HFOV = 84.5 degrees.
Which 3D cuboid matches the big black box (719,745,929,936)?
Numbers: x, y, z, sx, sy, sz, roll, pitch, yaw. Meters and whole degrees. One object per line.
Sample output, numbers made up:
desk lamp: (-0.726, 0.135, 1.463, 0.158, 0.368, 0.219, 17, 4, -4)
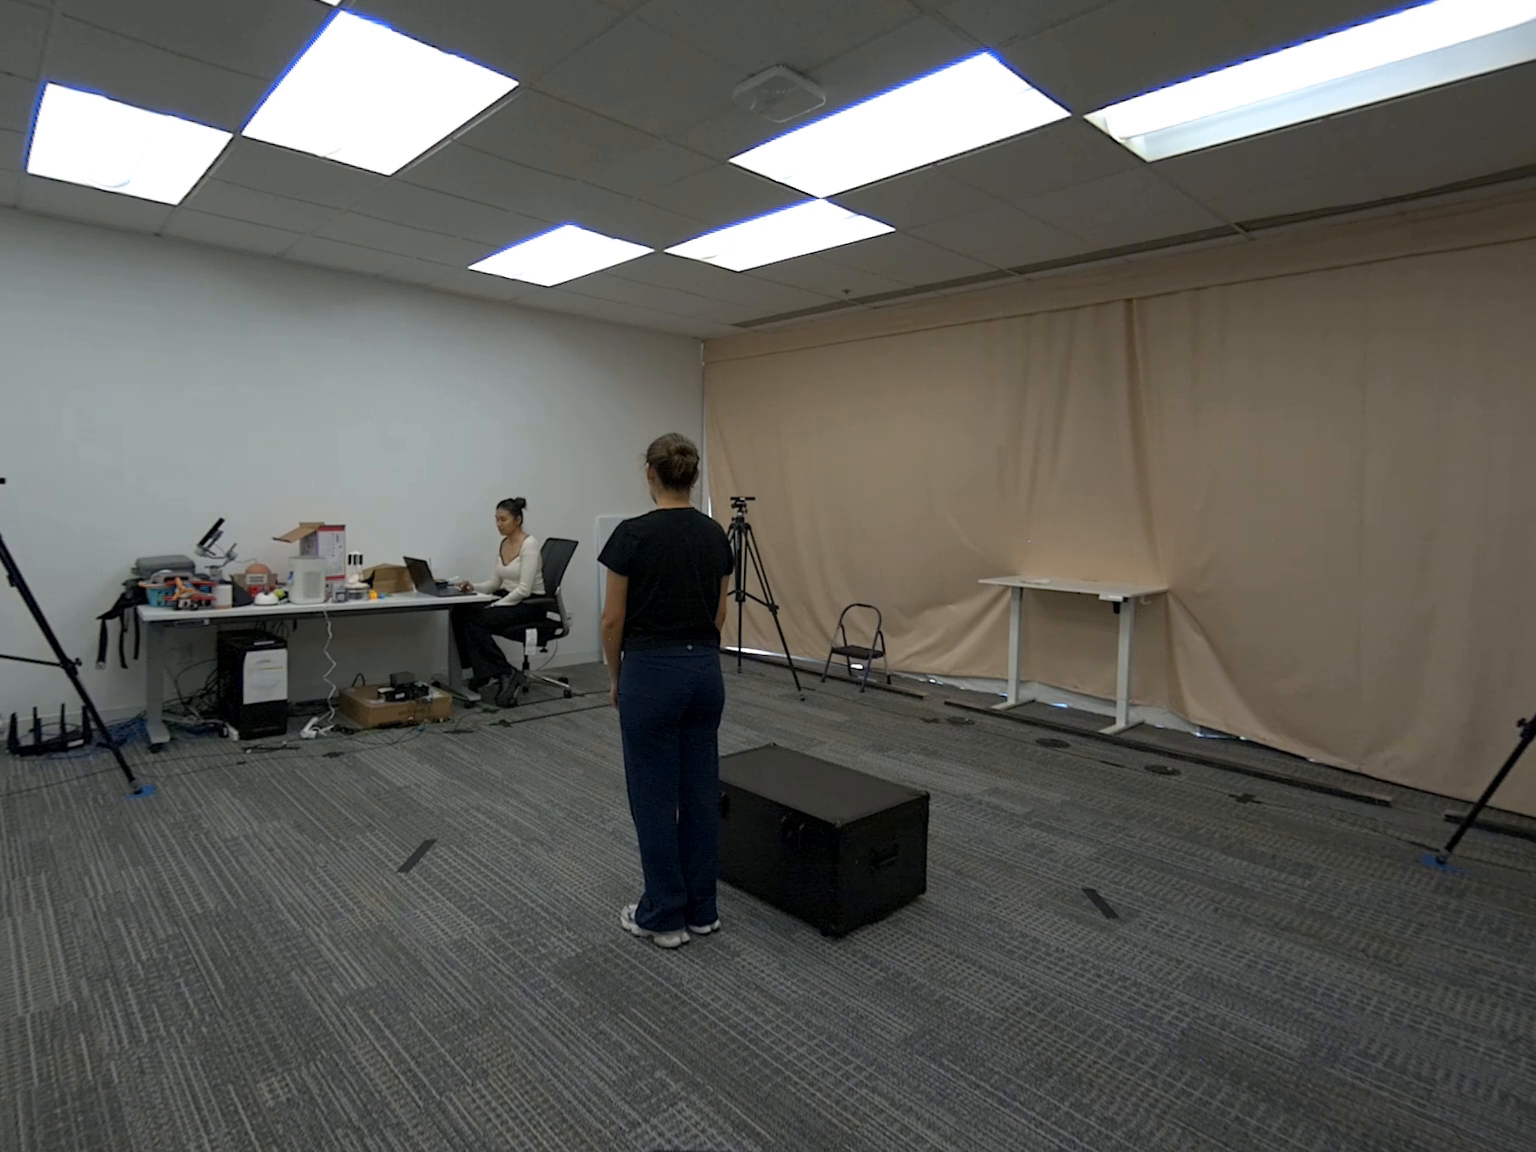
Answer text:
big black box: (0.095, 0.925, 3.089, 0.509, 0.395, 0.884, -3, 7, -44)
